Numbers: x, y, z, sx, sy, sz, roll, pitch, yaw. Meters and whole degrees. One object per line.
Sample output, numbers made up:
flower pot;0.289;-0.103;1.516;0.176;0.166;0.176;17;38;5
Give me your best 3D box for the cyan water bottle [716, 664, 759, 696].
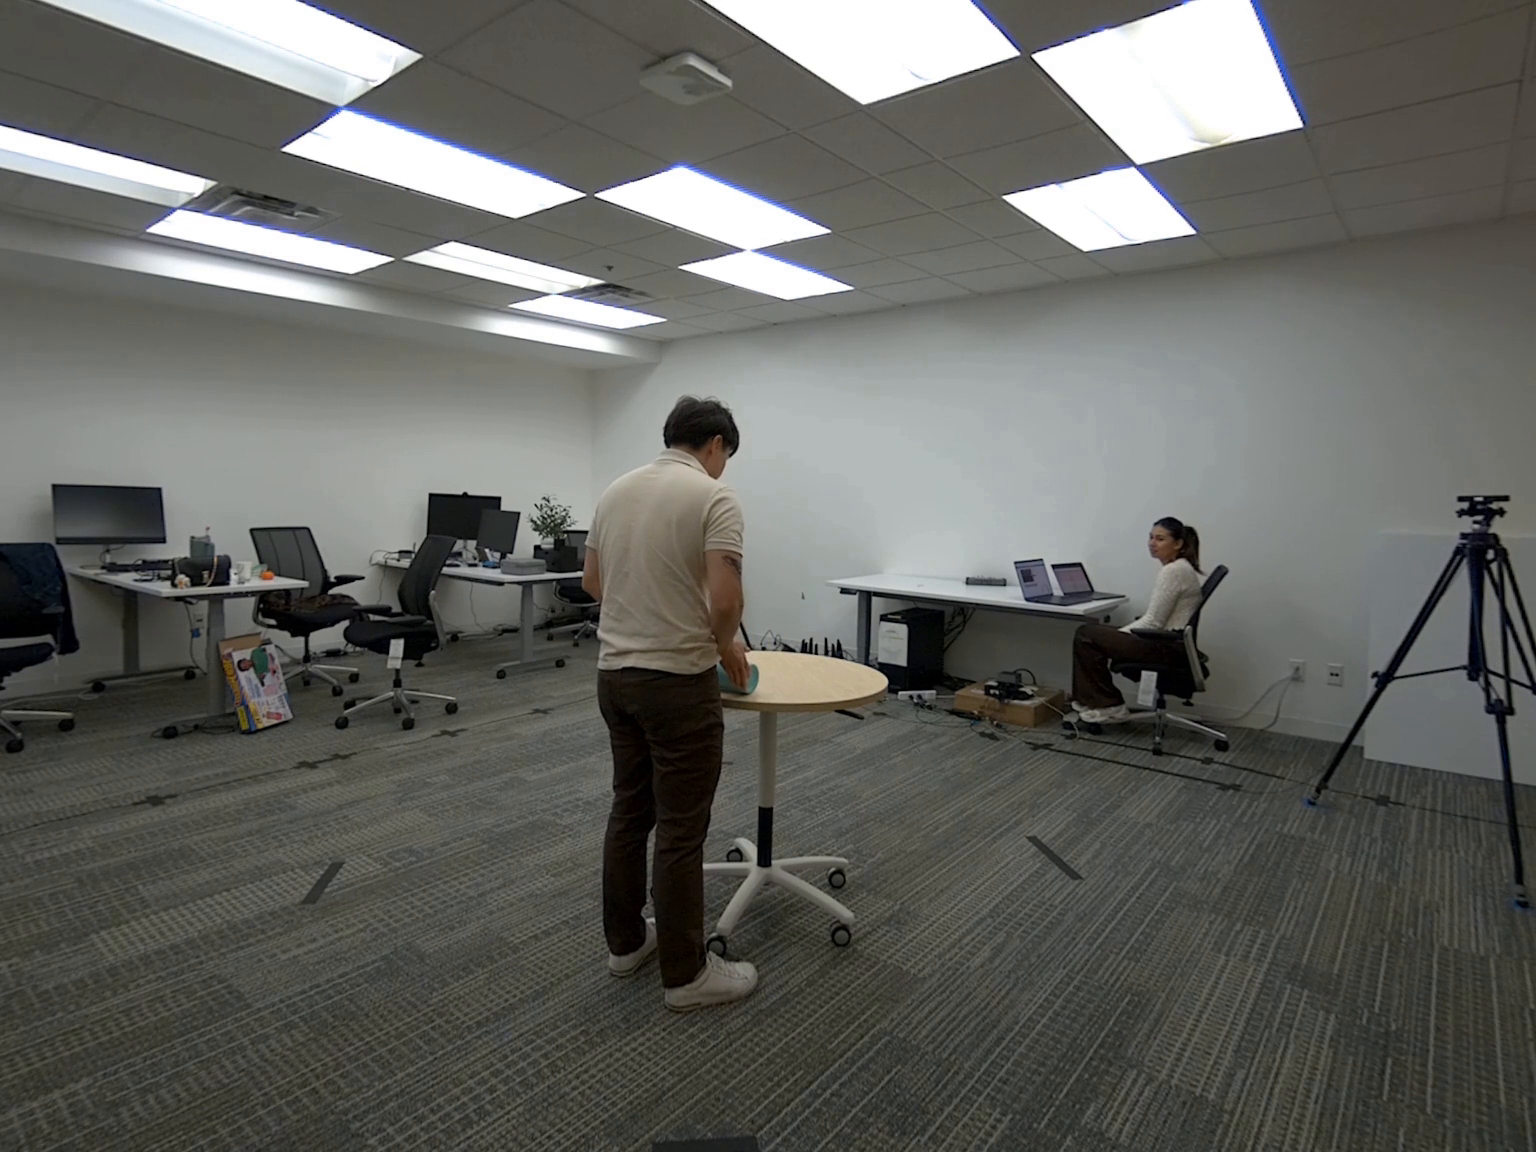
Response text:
cyan water bottle;-0.165;0.288;2.582;0.292;0.092;0.090;5;6;34
